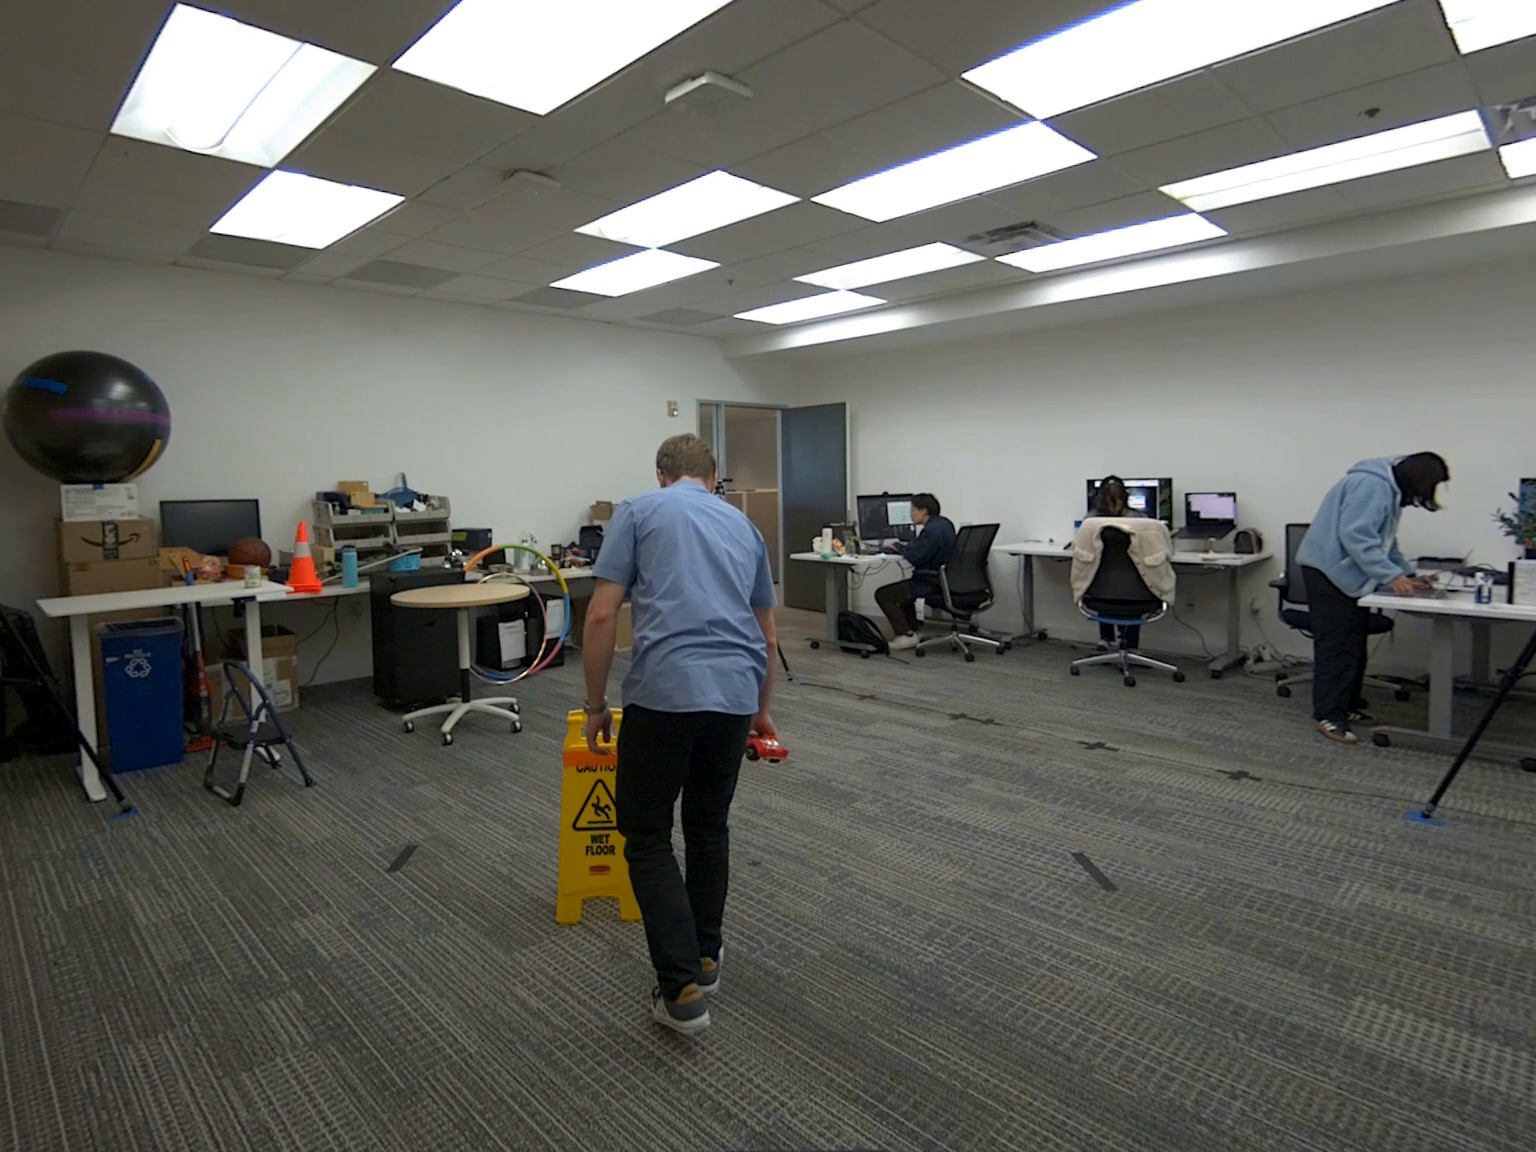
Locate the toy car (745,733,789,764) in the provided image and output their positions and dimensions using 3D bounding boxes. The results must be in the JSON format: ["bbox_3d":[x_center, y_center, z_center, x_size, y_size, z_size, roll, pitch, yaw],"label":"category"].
[{"bbox_3d":[-0.046,0.542,2.666,0.126,0.084,0.260,17,-17,-40],"label":"toy car"}]
